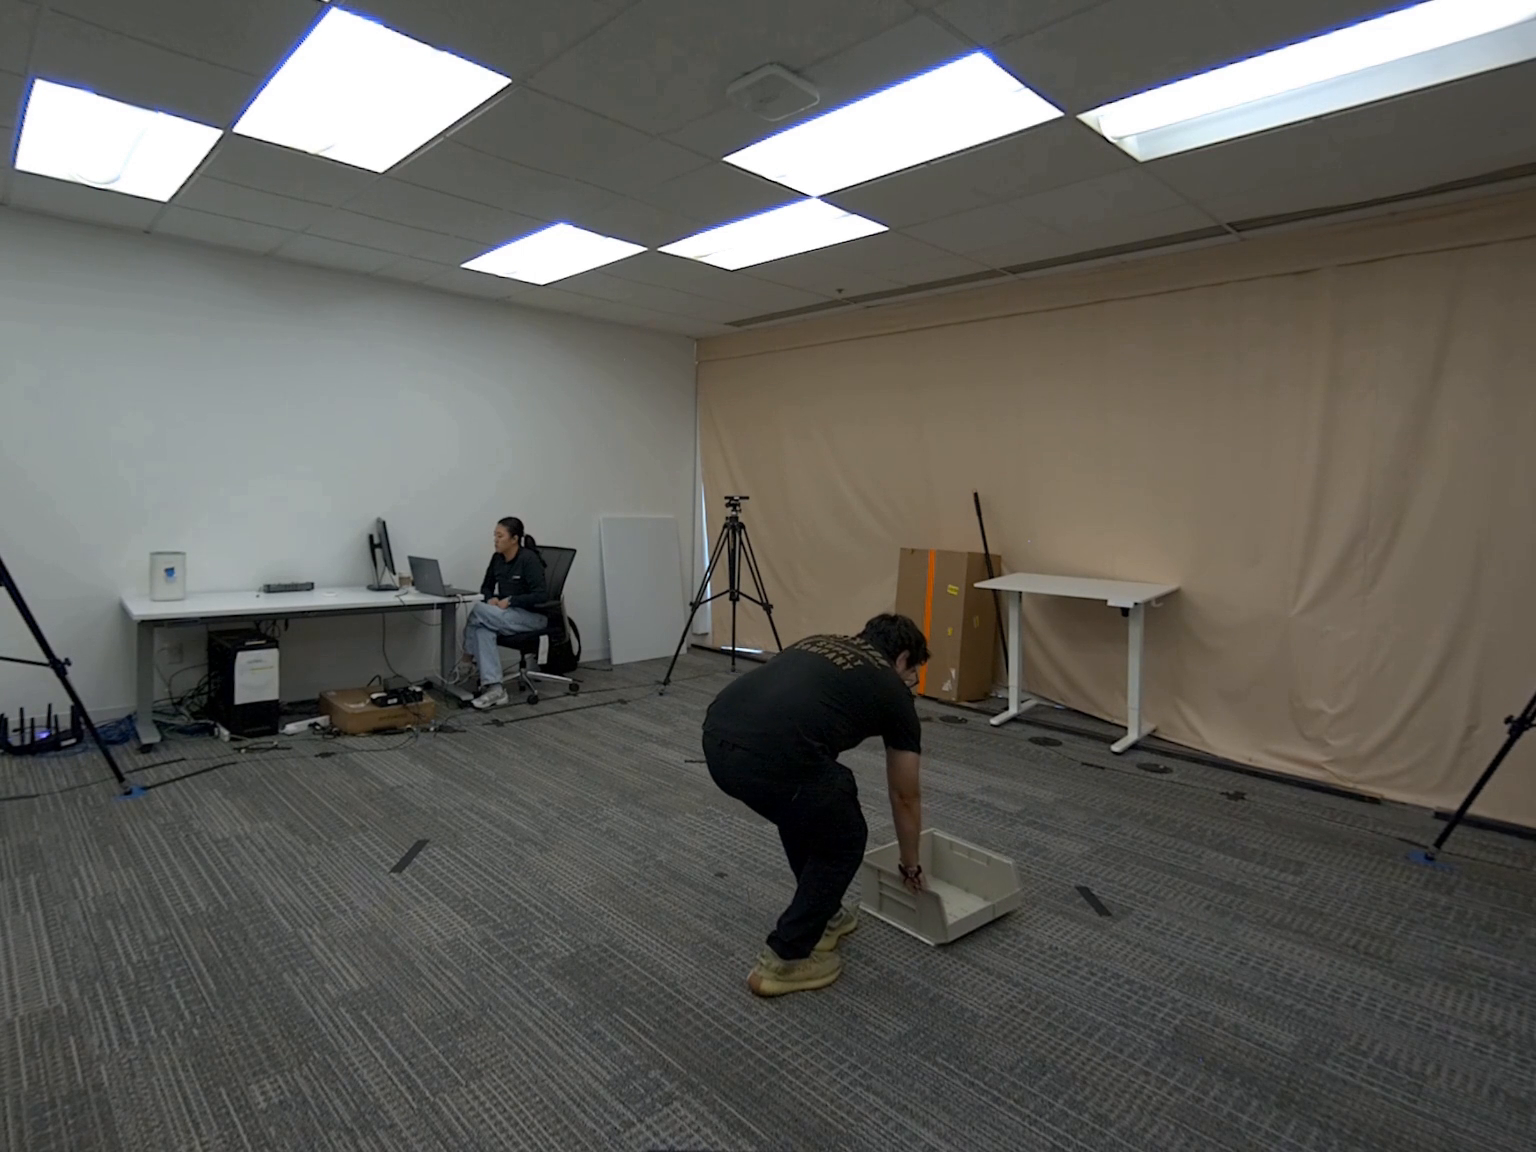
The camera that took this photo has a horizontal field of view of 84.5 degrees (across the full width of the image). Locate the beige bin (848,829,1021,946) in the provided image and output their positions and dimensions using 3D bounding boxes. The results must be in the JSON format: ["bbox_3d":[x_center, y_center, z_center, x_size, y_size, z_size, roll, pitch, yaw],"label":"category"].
[{"bbox_3d":[0.573,1.055,2.861,0.413,0.188,0.387,-4,6,-40],"label":"beige bin"}]
